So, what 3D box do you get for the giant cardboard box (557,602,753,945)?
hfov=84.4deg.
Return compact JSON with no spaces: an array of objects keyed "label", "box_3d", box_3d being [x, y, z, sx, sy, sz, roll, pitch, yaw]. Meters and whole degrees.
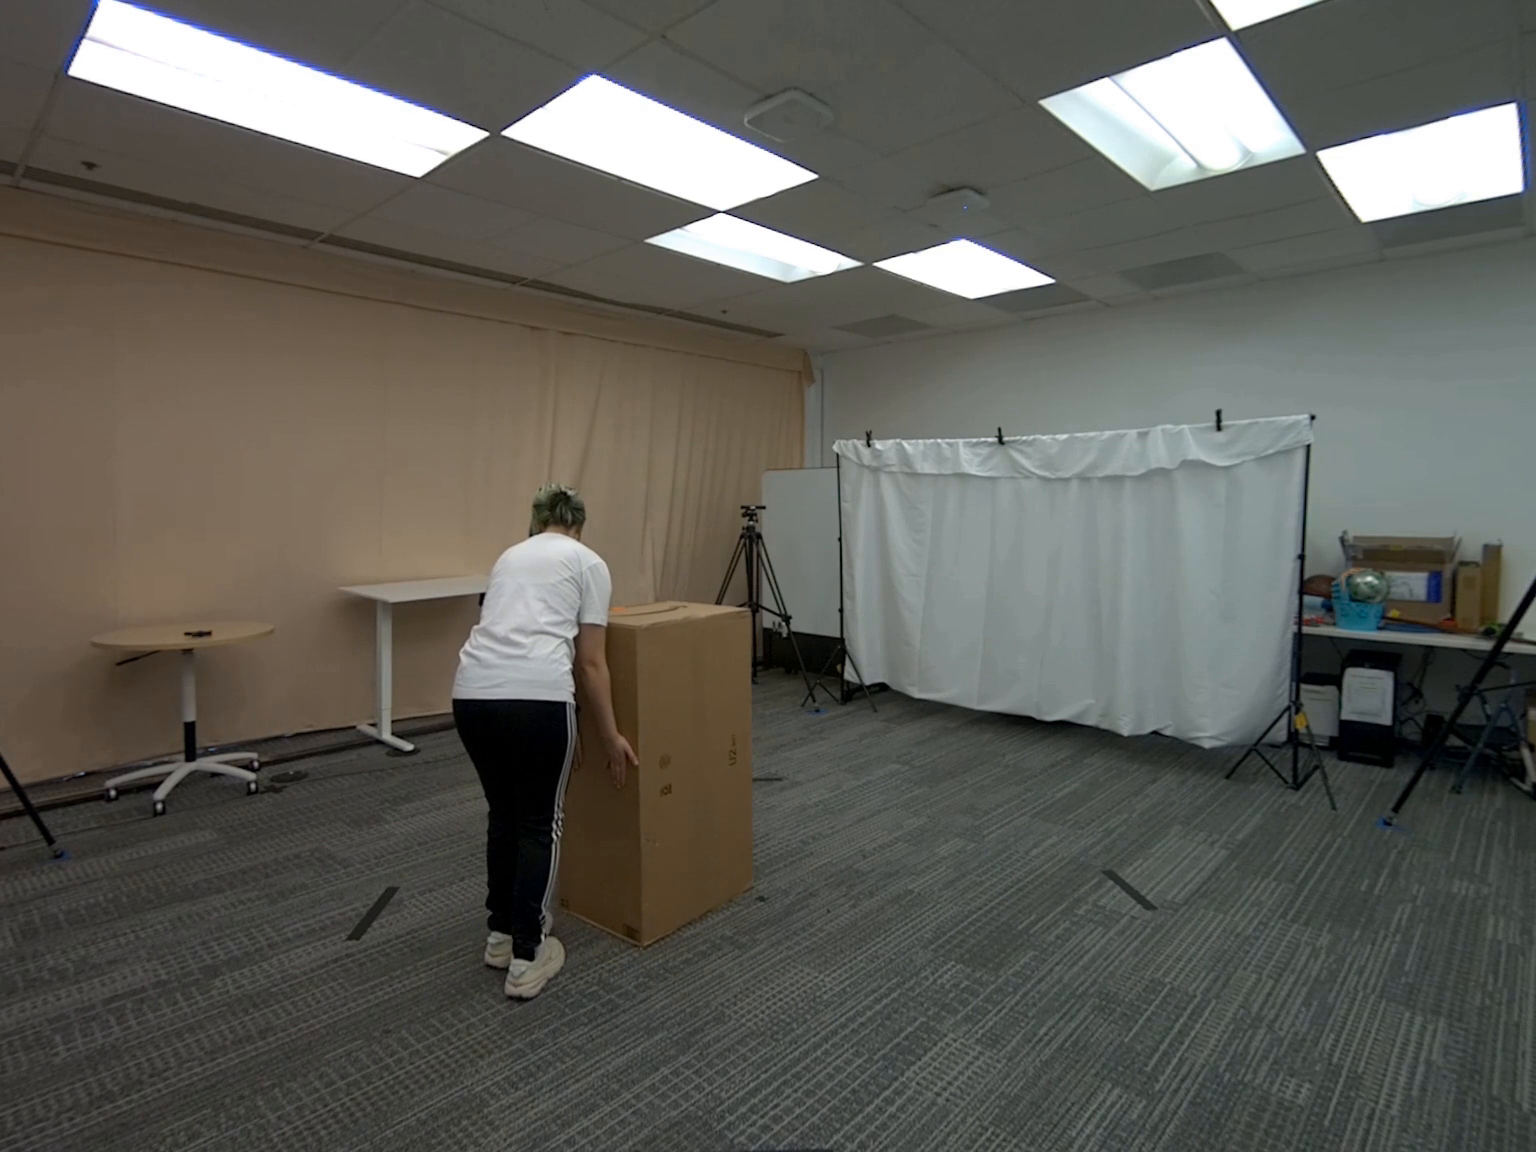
[{"label":"giant cardboard box","box_3d":[-0.397,0.639,2.976,0.461,1.025,0.566,3,5,38]}]
